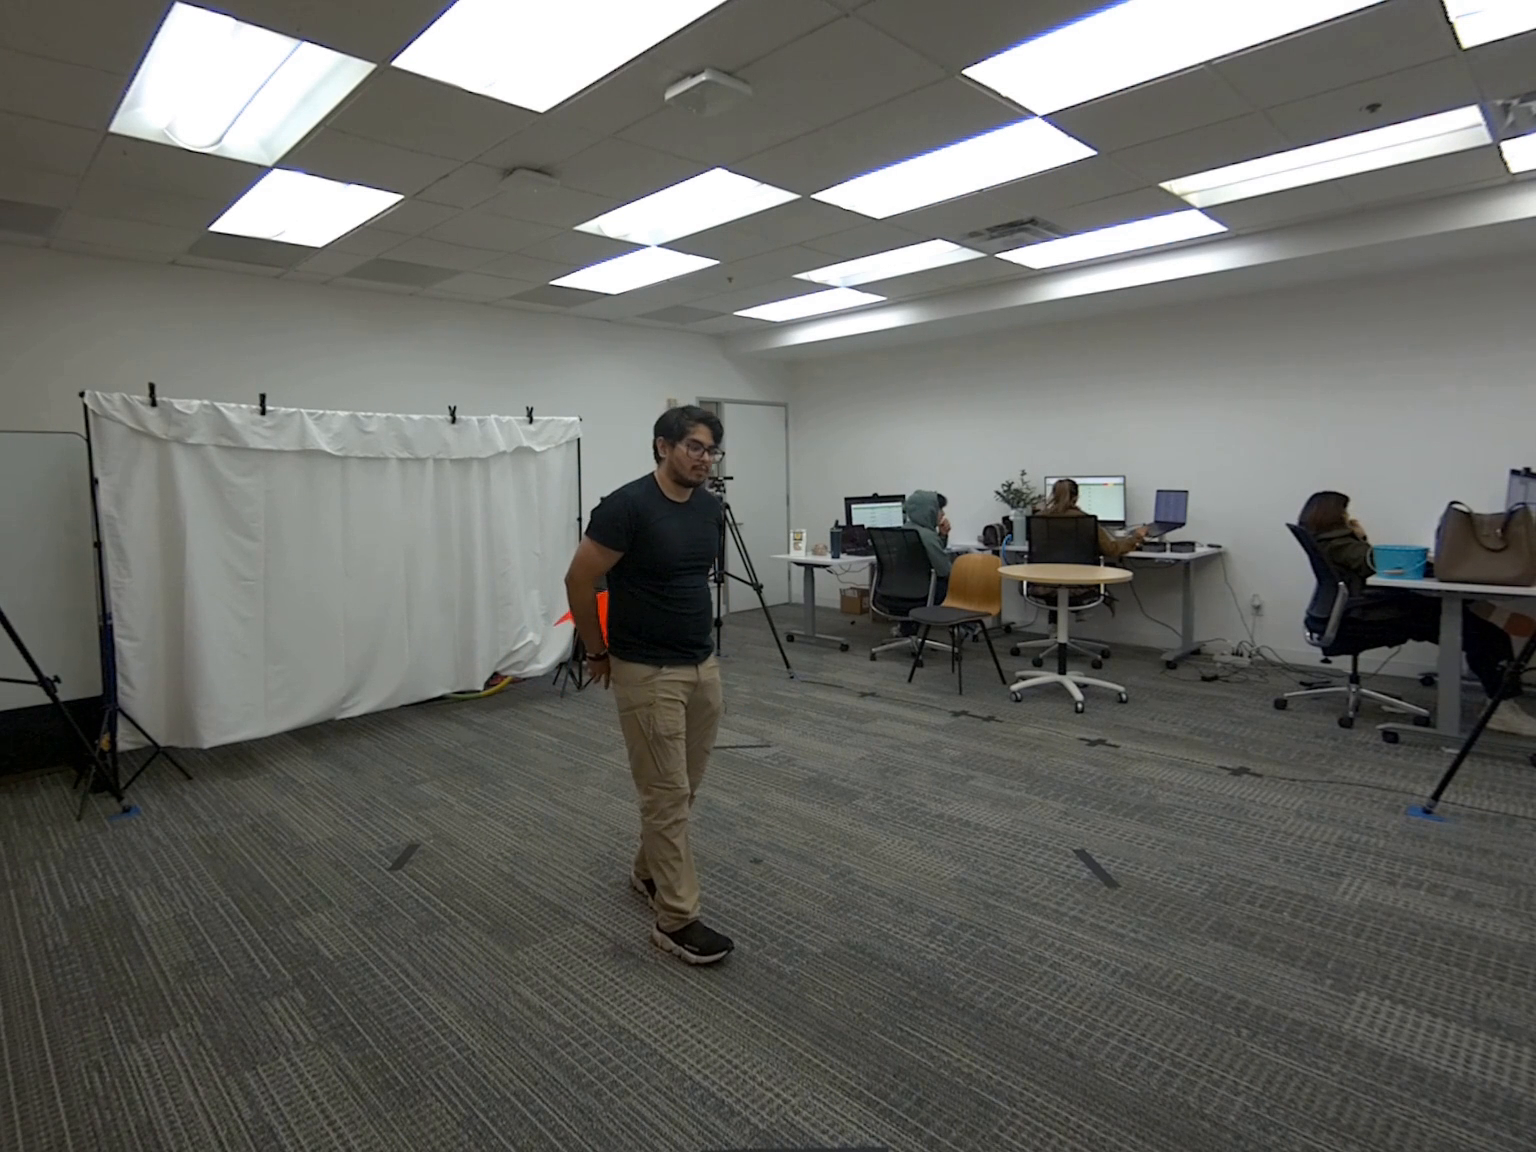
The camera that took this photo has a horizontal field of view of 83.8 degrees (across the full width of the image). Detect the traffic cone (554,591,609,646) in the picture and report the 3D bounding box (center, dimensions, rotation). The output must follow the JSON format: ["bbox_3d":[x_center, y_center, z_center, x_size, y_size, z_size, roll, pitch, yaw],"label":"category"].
[{"bbox_3d":[-0.495,0.263,2.836,0.206,0.388,0.199,-35,-10,39],"label":"traffic cone"}]
